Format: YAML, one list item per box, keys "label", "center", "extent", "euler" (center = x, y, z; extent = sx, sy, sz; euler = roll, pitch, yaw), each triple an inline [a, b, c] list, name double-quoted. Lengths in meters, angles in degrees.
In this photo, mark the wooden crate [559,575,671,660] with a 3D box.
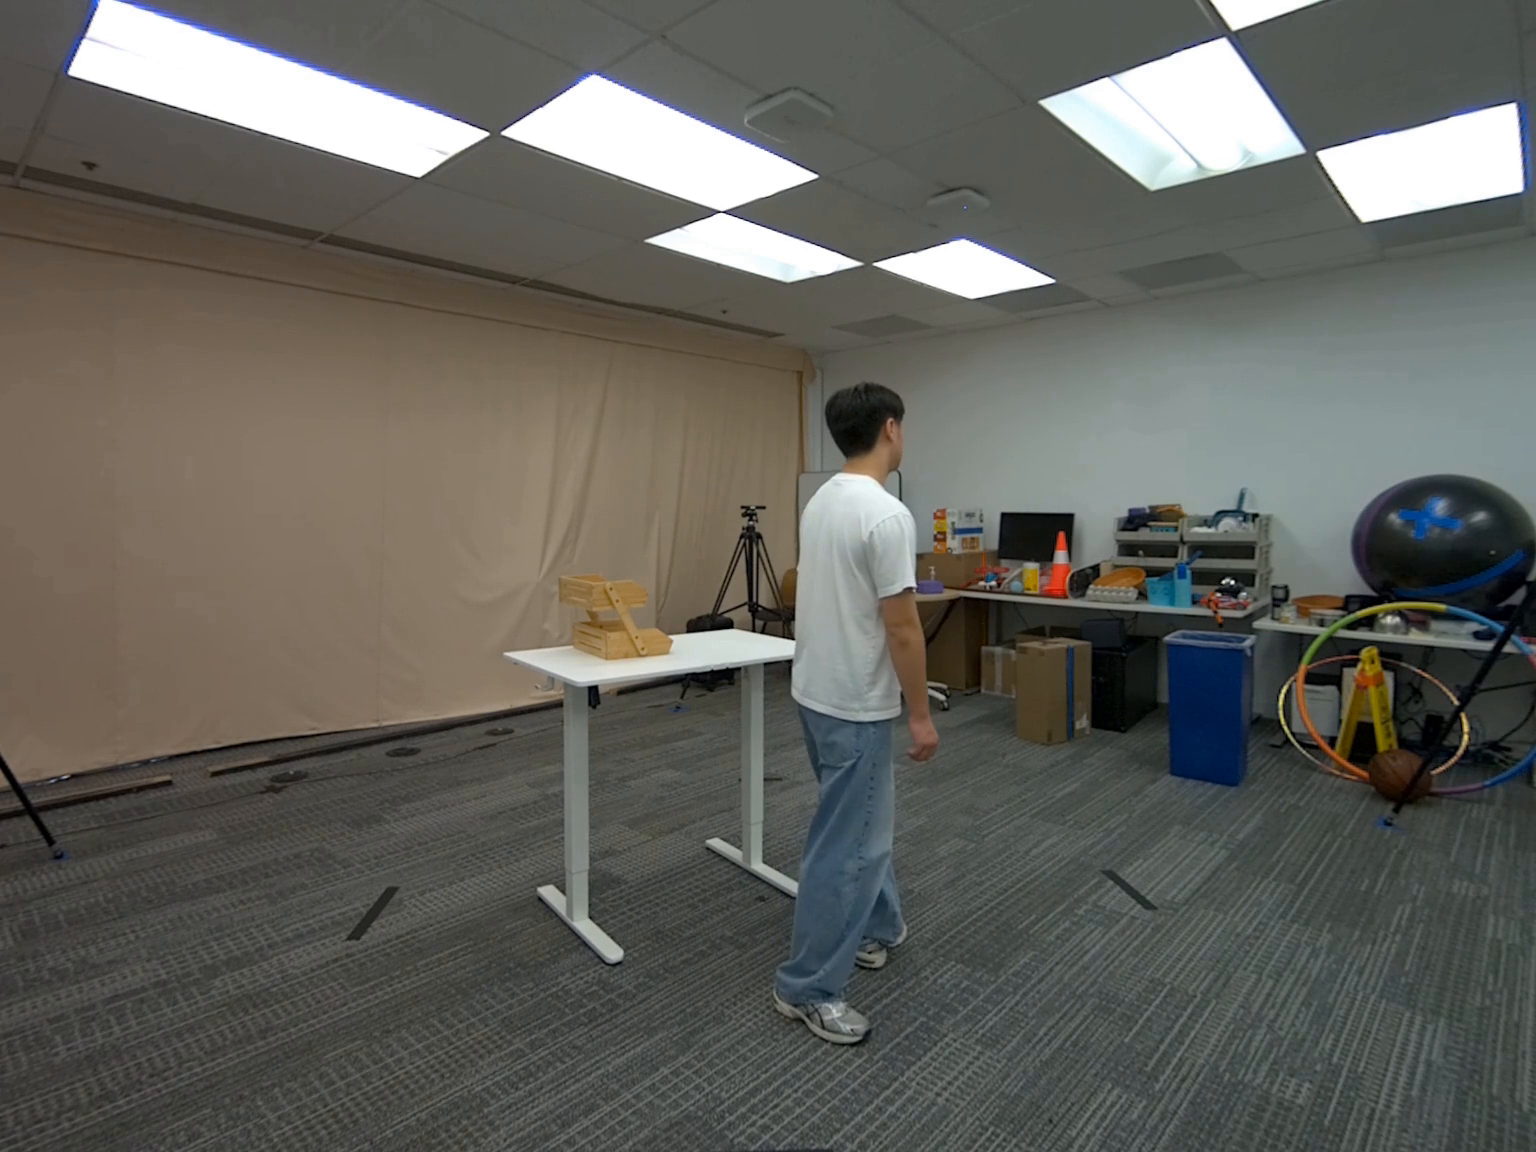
- label: "wooden crate"
  center: [-0.535, 0.132, 2.952]
  extent: [0.293, 0.273, 0.334]
  euler: [-3, 5, -34]
